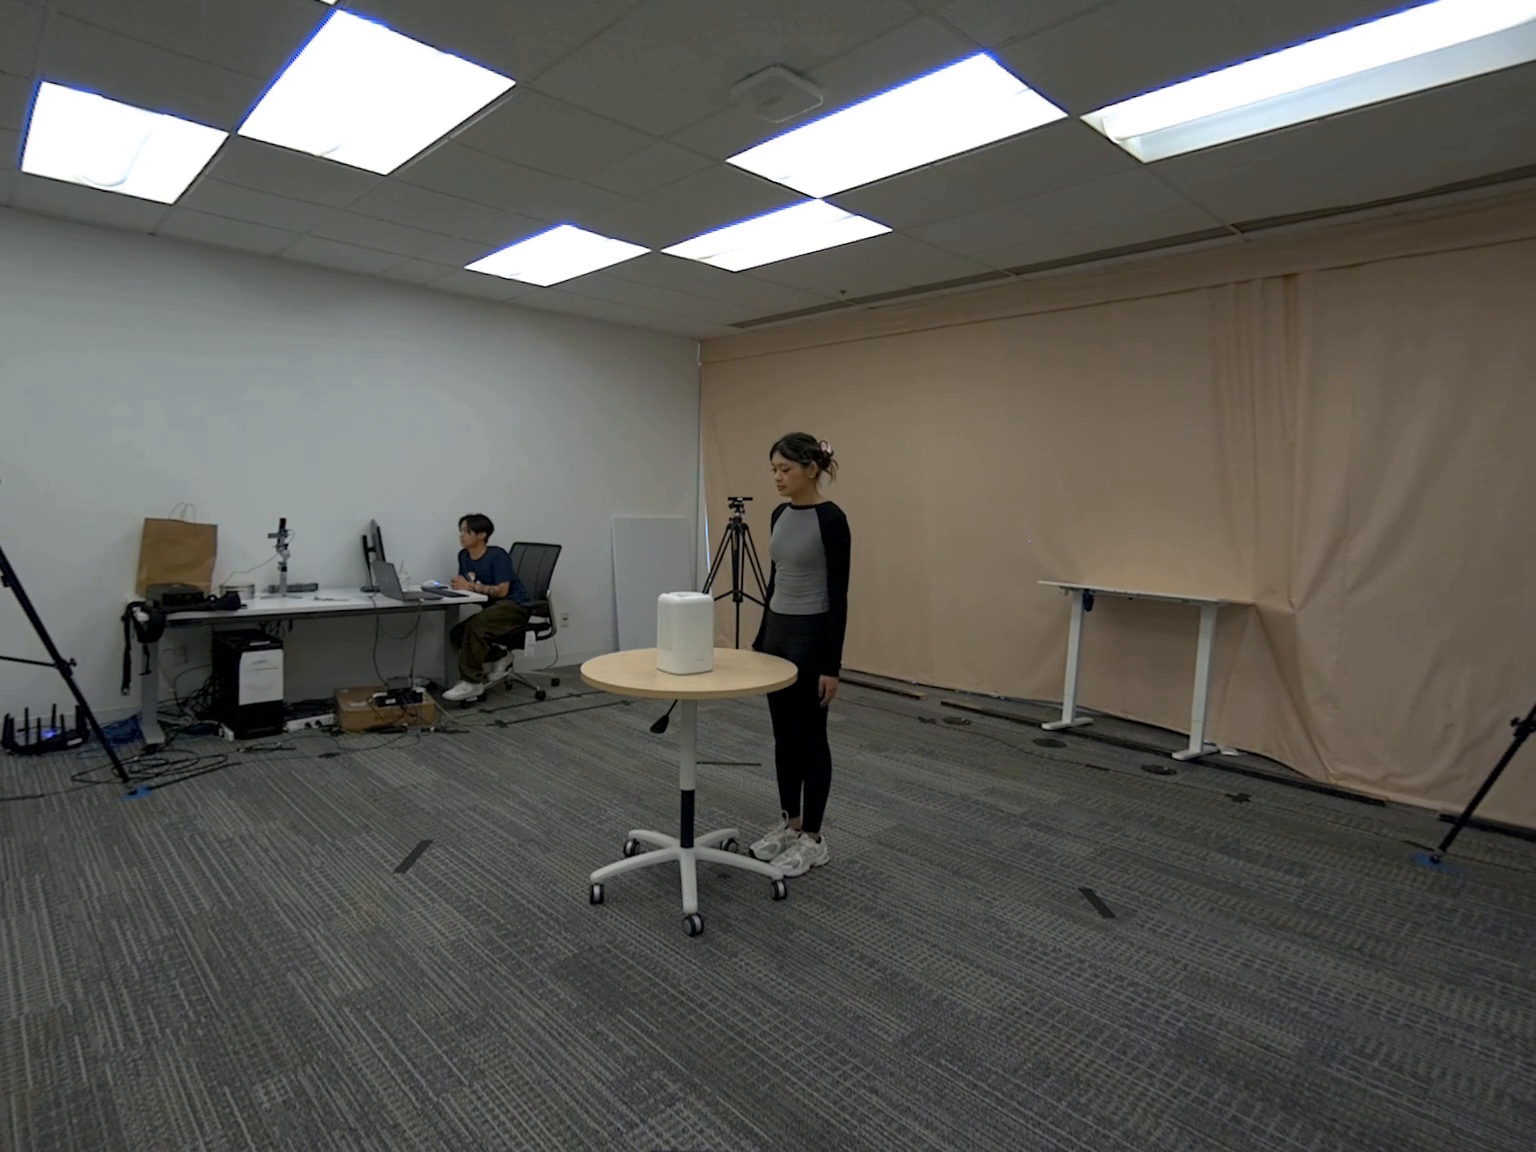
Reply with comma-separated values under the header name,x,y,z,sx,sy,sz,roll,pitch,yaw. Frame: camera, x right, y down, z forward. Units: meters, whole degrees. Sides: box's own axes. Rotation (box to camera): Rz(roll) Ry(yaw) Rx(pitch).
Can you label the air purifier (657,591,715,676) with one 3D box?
name,x,y,z,sx,sy,sz,roll,pitch,yaw
air purifier,-0.294,0.195,2.927,0.167,0.265,0.176,-2,5,-38
